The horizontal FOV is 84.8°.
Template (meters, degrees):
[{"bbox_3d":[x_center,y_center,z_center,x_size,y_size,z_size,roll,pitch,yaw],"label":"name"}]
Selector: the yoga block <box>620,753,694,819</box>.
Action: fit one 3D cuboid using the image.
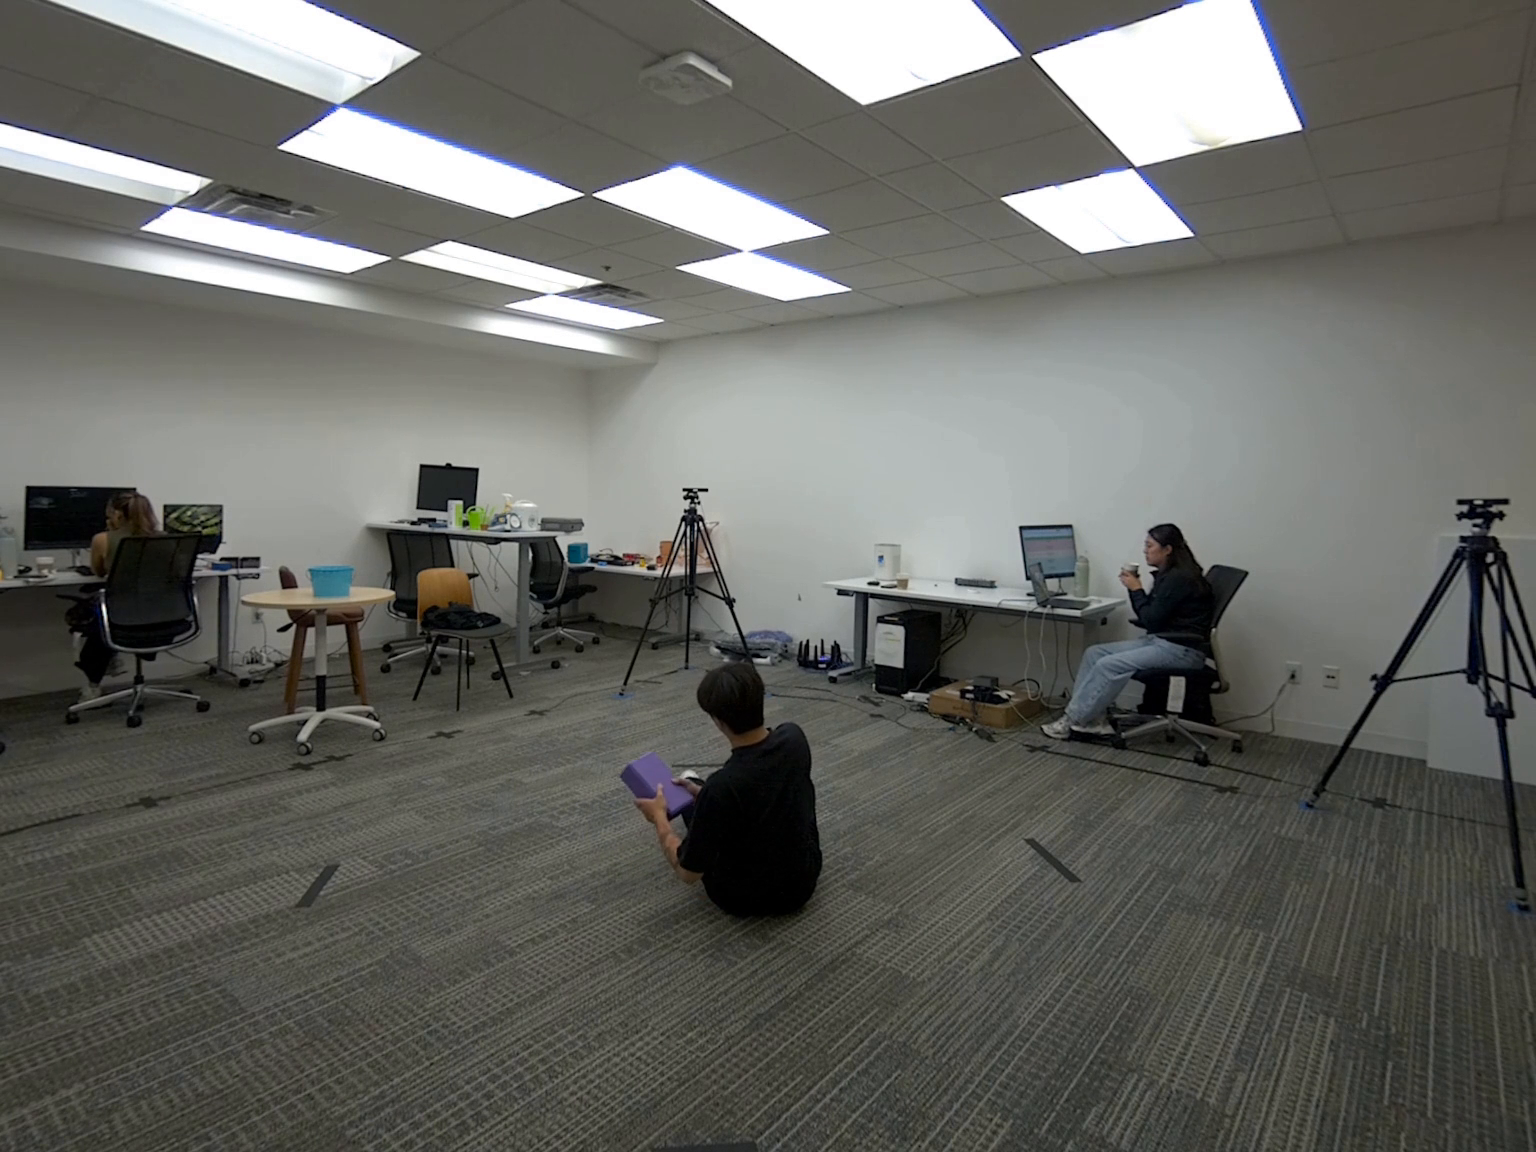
[{"bbox_3d":[-0.382,0.719,2.910,0.236,0.076,0.145,43,26,21],"label":"yoga block"}]
